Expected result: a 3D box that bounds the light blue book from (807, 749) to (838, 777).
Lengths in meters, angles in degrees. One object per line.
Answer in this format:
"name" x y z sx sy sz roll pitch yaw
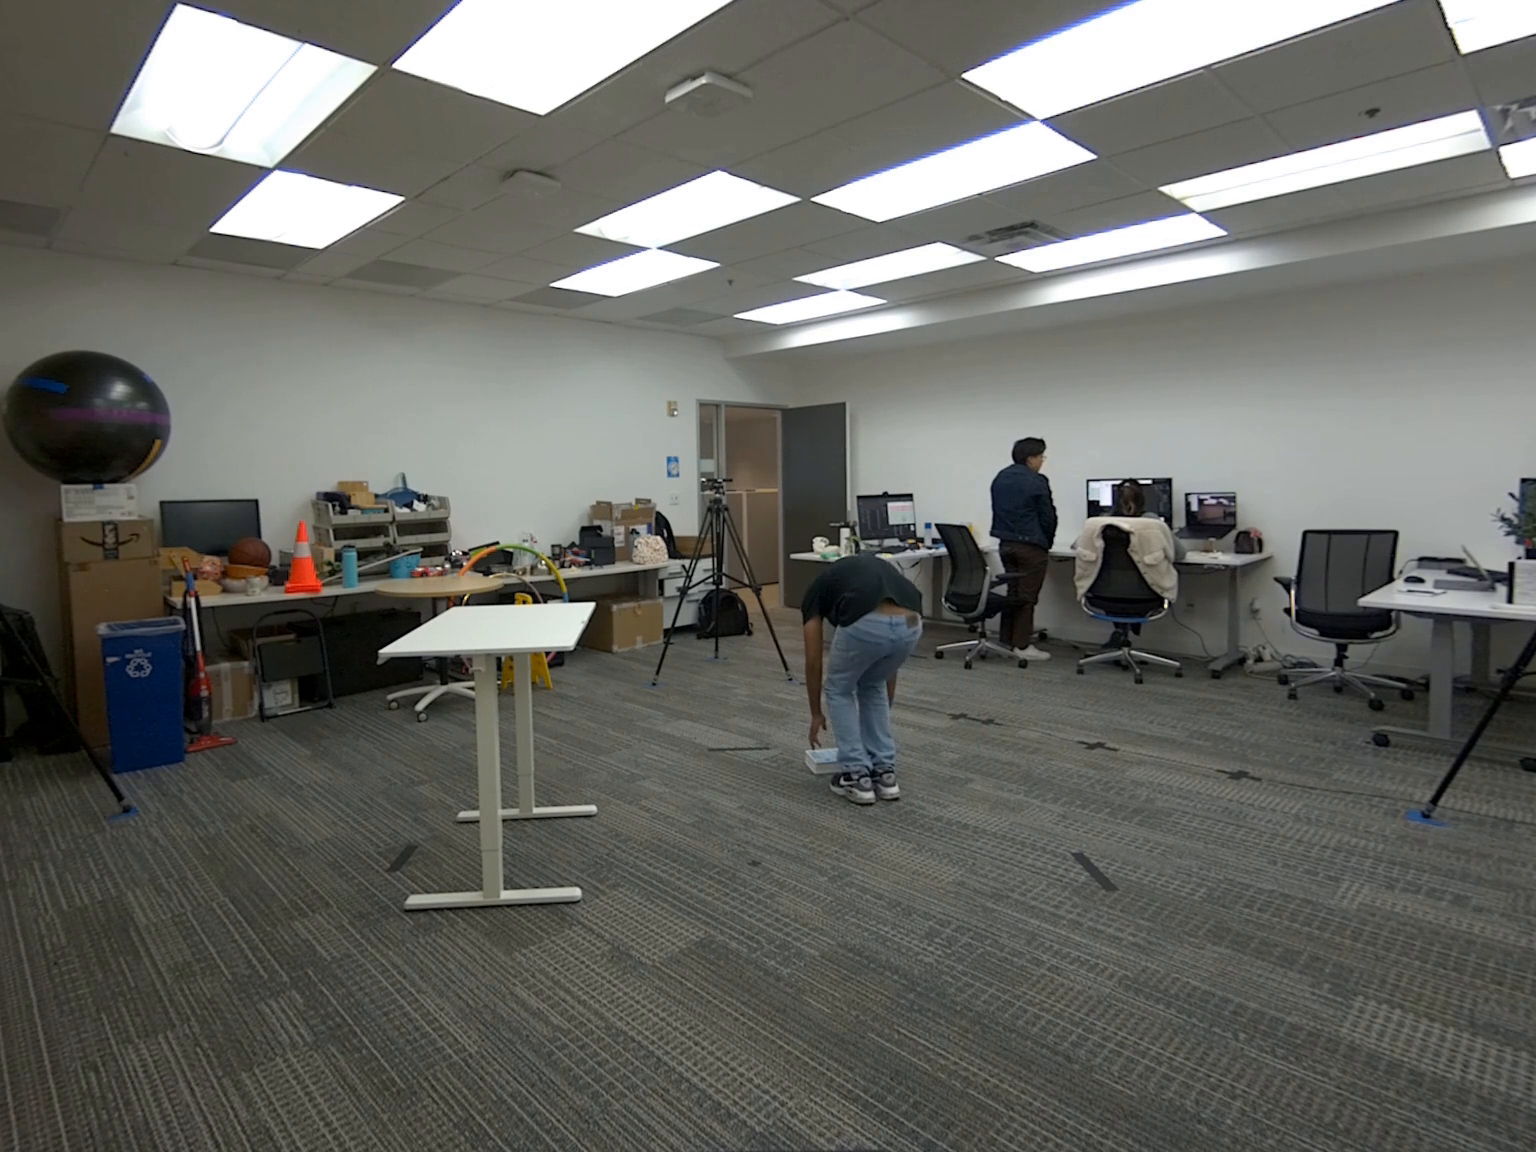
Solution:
"light blue book" 0.340 0.895 4.145 0.258 0.059 0.194 -3 7 -12
